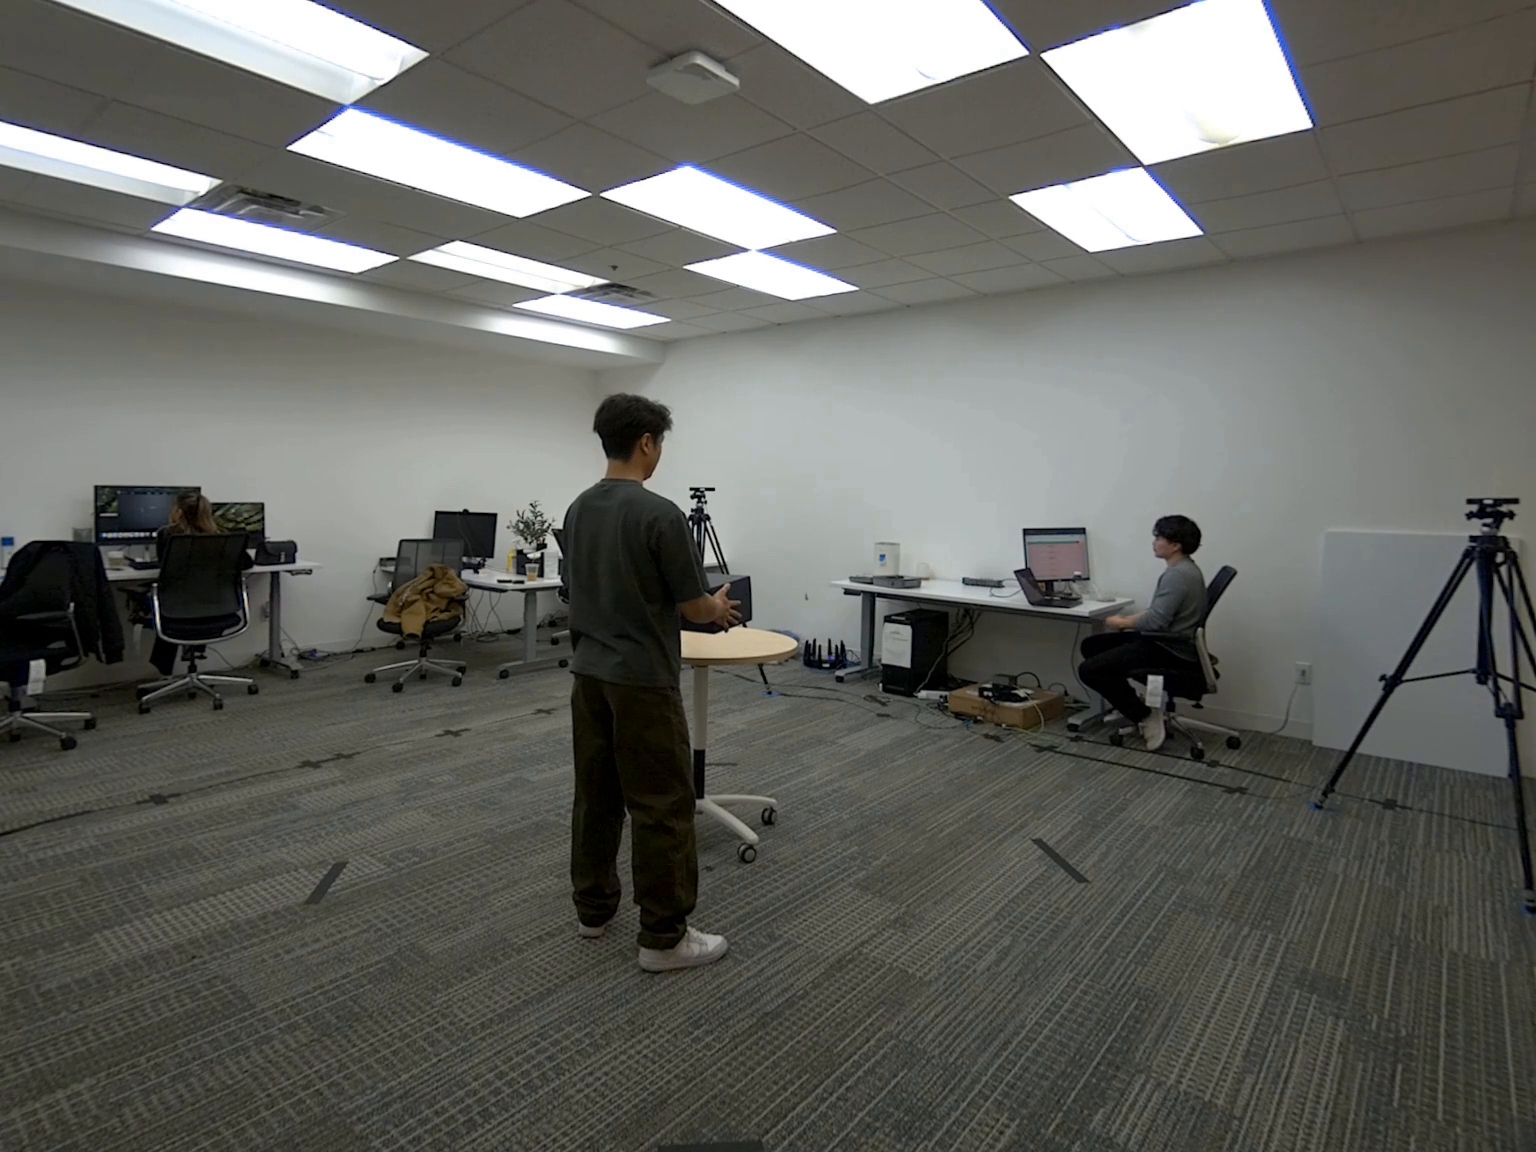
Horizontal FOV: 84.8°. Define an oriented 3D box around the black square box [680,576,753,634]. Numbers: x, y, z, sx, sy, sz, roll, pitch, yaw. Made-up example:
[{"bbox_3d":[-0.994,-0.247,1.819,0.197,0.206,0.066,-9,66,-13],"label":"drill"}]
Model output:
[{"bbox_3d":[-0.208,0.081,2.909,0.224,0.155,0.222,3,11,37],"label":"black square box"}]
